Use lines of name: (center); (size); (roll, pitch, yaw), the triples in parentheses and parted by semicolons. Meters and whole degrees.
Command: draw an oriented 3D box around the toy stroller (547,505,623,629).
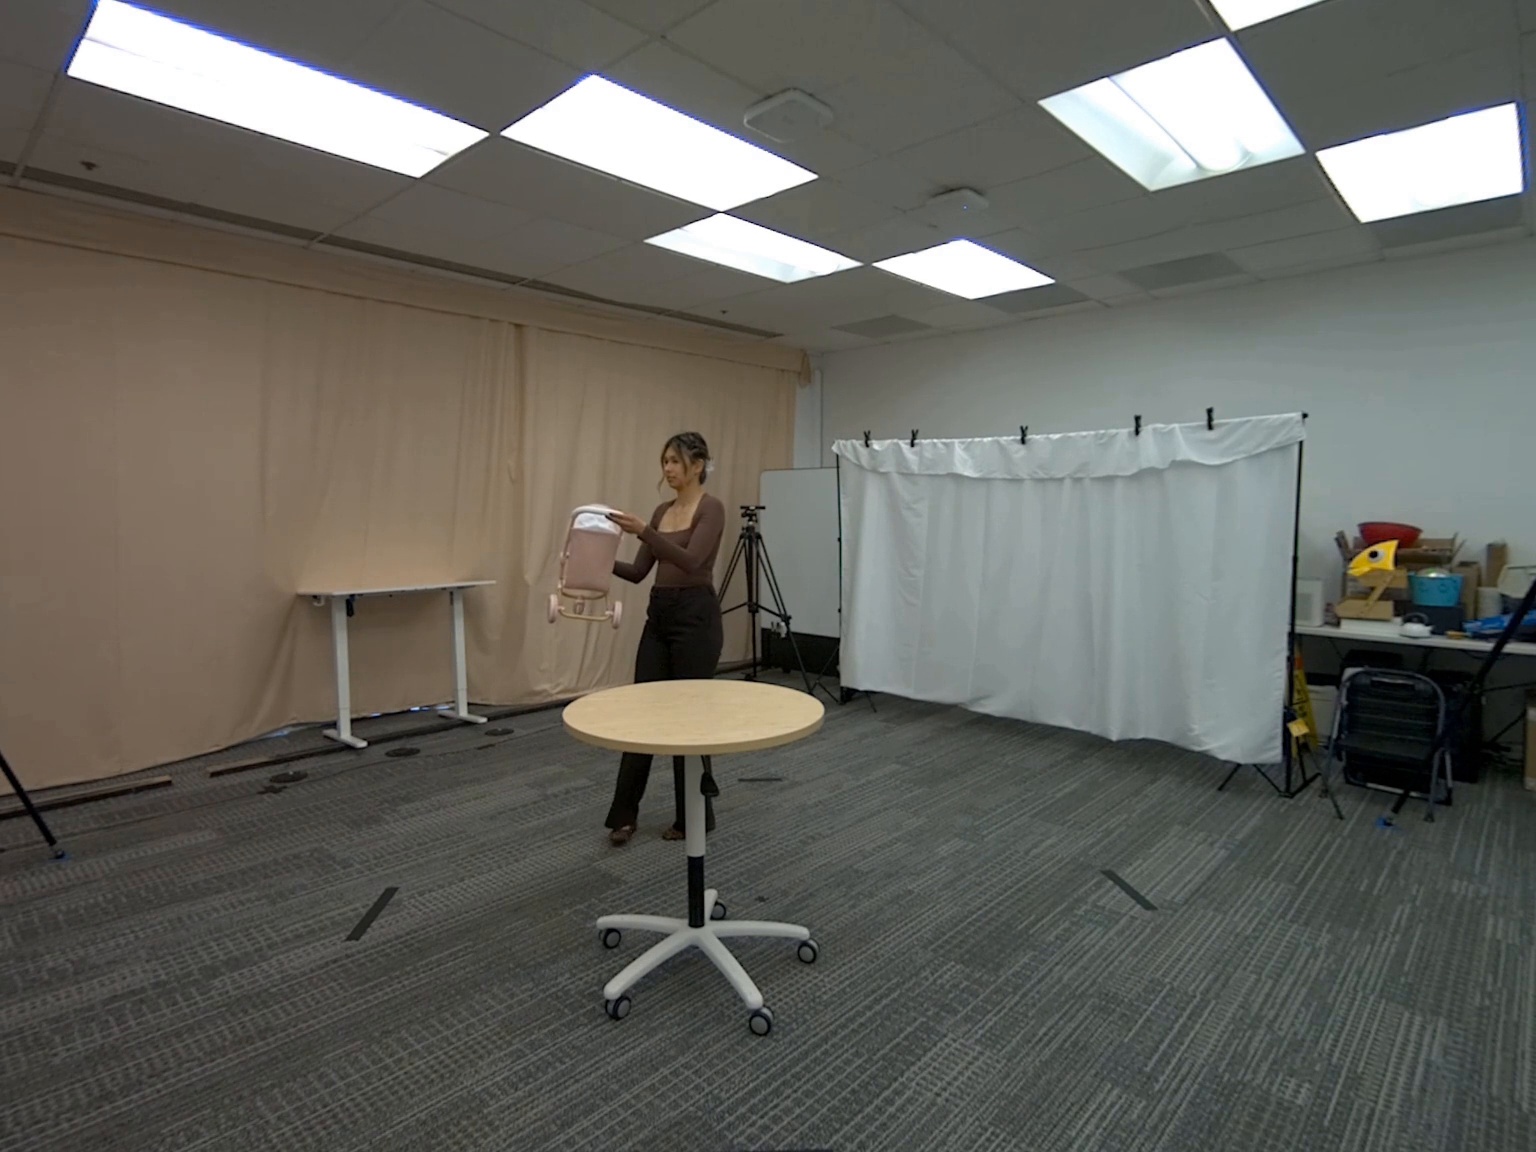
toy stroller: (-0.695, -0.044, 3.298); (0.277, 0.532, 0.348); (8, 15, -14)
